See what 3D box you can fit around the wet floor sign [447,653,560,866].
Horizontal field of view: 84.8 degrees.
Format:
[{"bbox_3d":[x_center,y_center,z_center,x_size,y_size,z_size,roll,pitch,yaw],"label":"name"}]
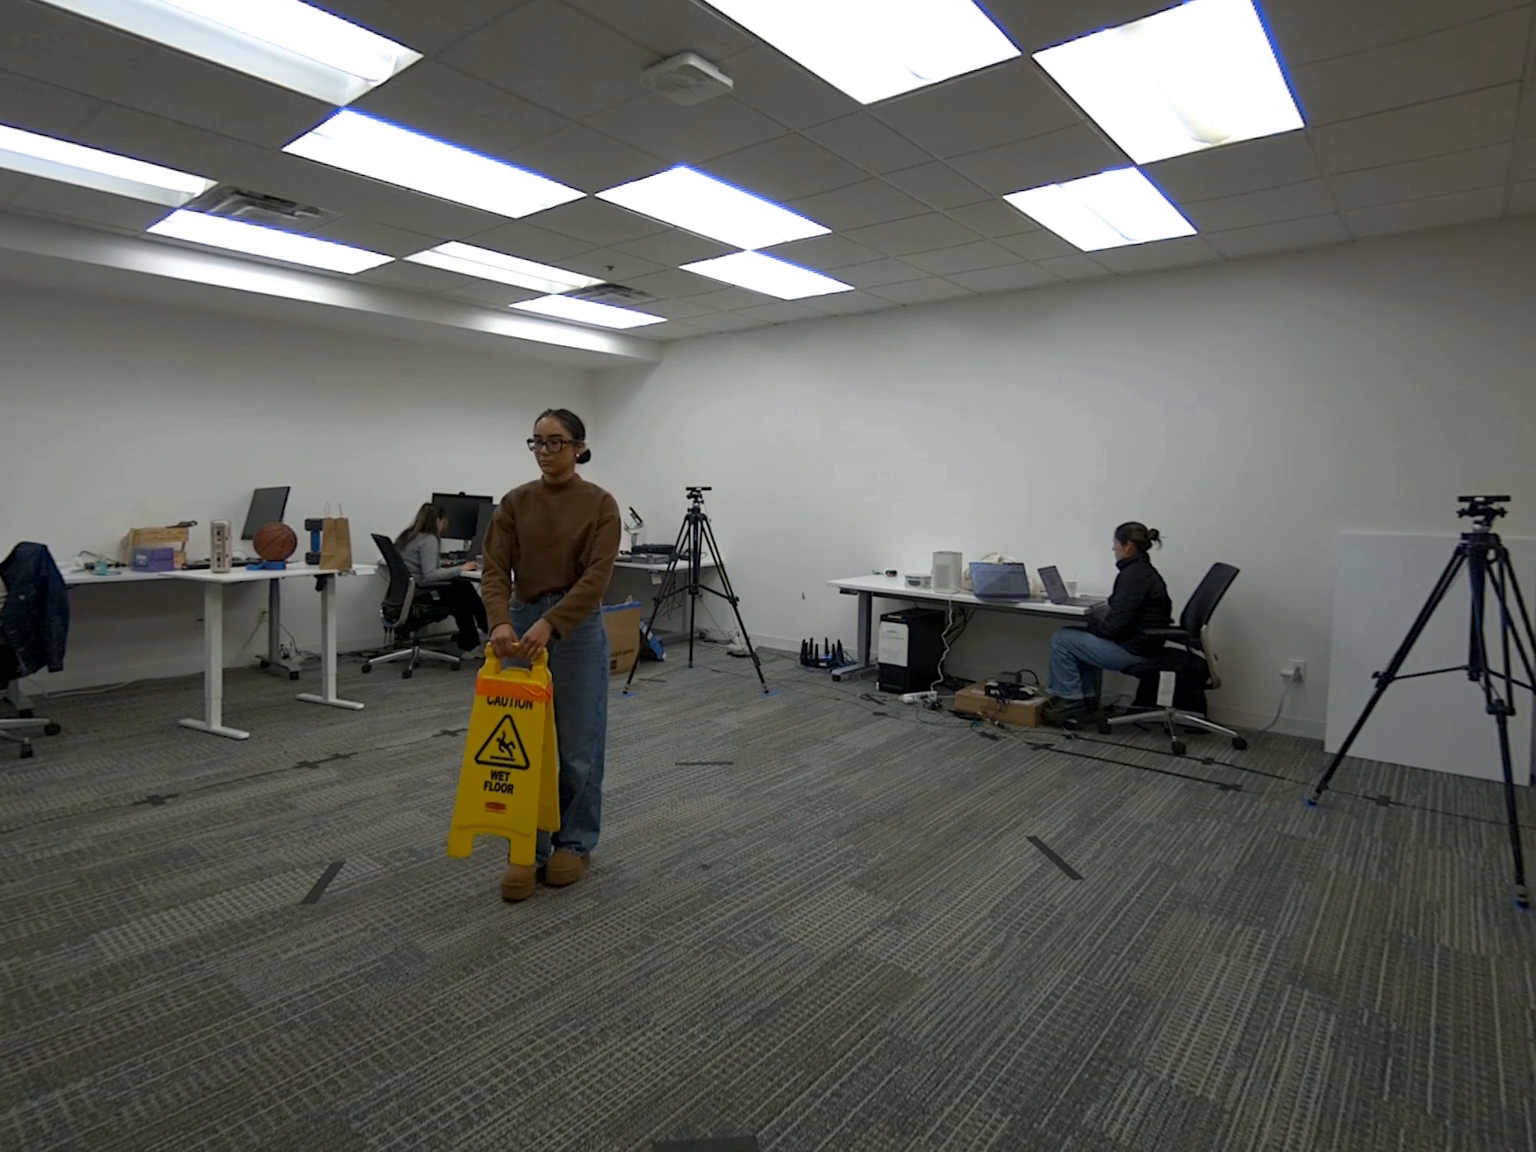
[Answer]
[{"bbox_3d":[-0.838,0.540,2.717,0.284,0.643,0.289,3,4,4],"label":"wet floor sign"}]
